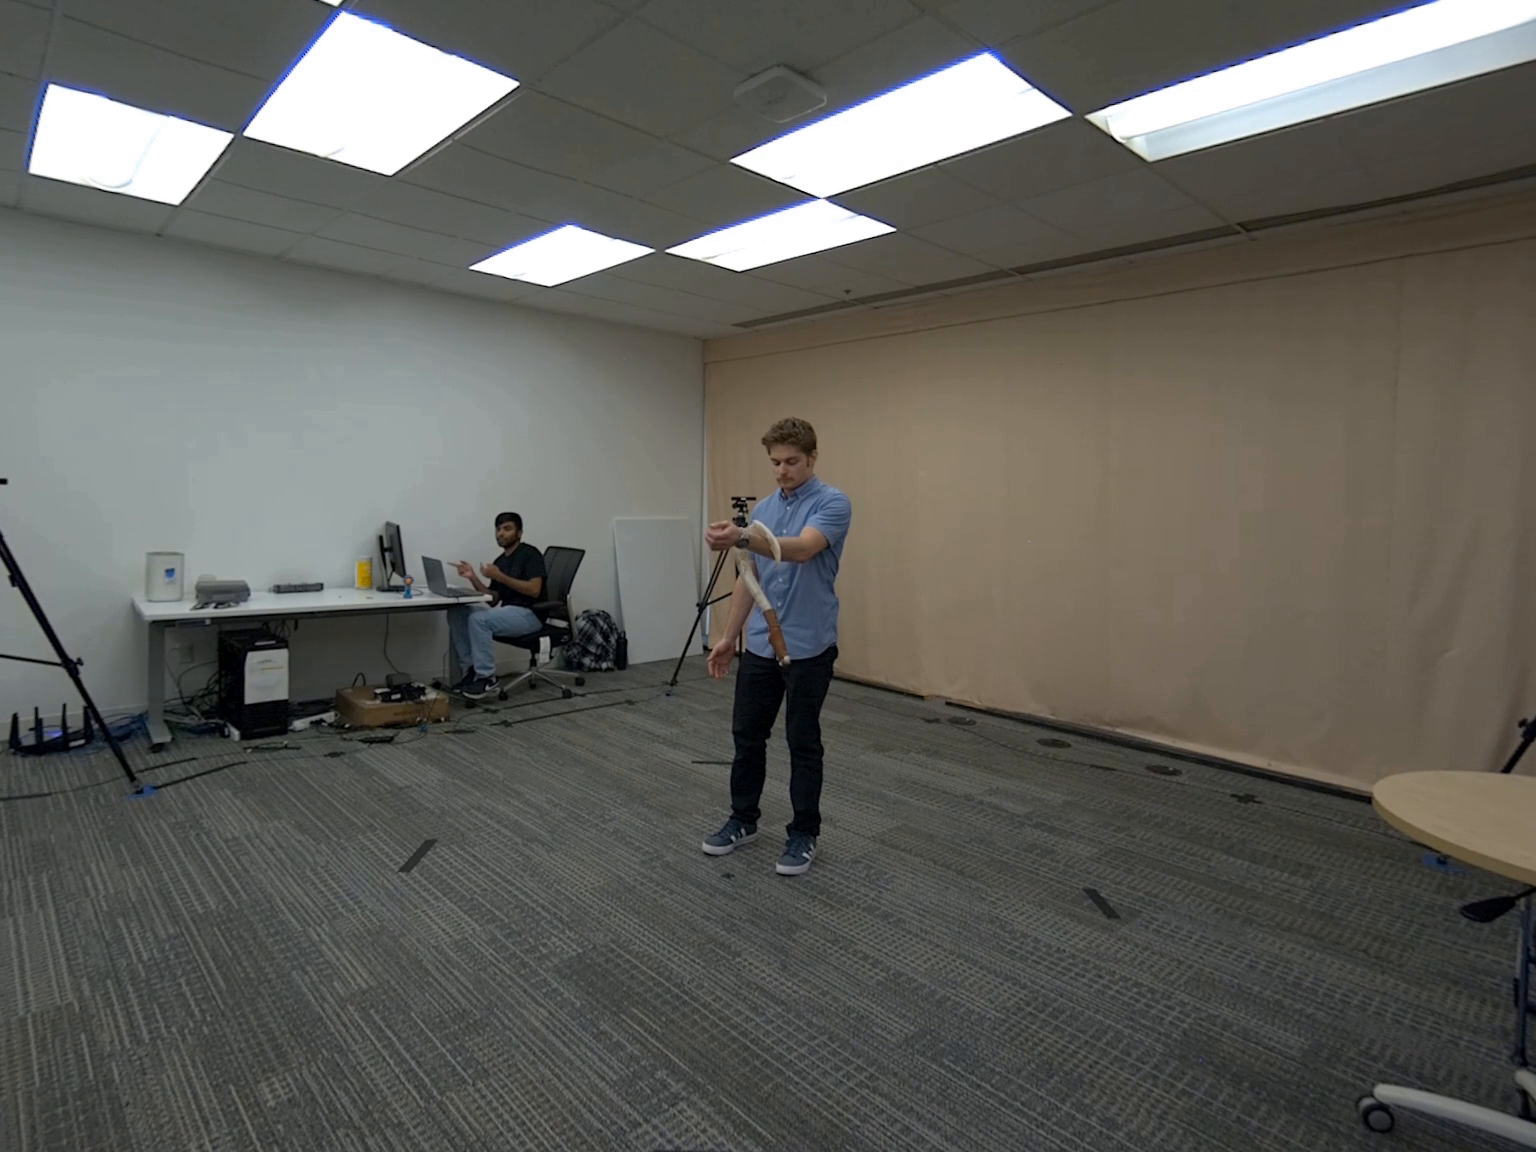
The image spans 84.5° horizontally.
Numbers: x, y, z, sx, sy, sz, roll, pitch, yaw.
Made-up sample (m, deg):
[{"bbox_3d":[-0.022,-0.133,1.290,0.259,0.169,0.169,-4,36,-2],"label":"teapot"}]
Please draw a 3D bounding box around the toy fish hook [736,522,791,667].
[{"bbox_3d":[-0.003,0.054,2.857,0.047,0.516,0.225,-3,-25,-34],"label":"toy fish hook"}]
